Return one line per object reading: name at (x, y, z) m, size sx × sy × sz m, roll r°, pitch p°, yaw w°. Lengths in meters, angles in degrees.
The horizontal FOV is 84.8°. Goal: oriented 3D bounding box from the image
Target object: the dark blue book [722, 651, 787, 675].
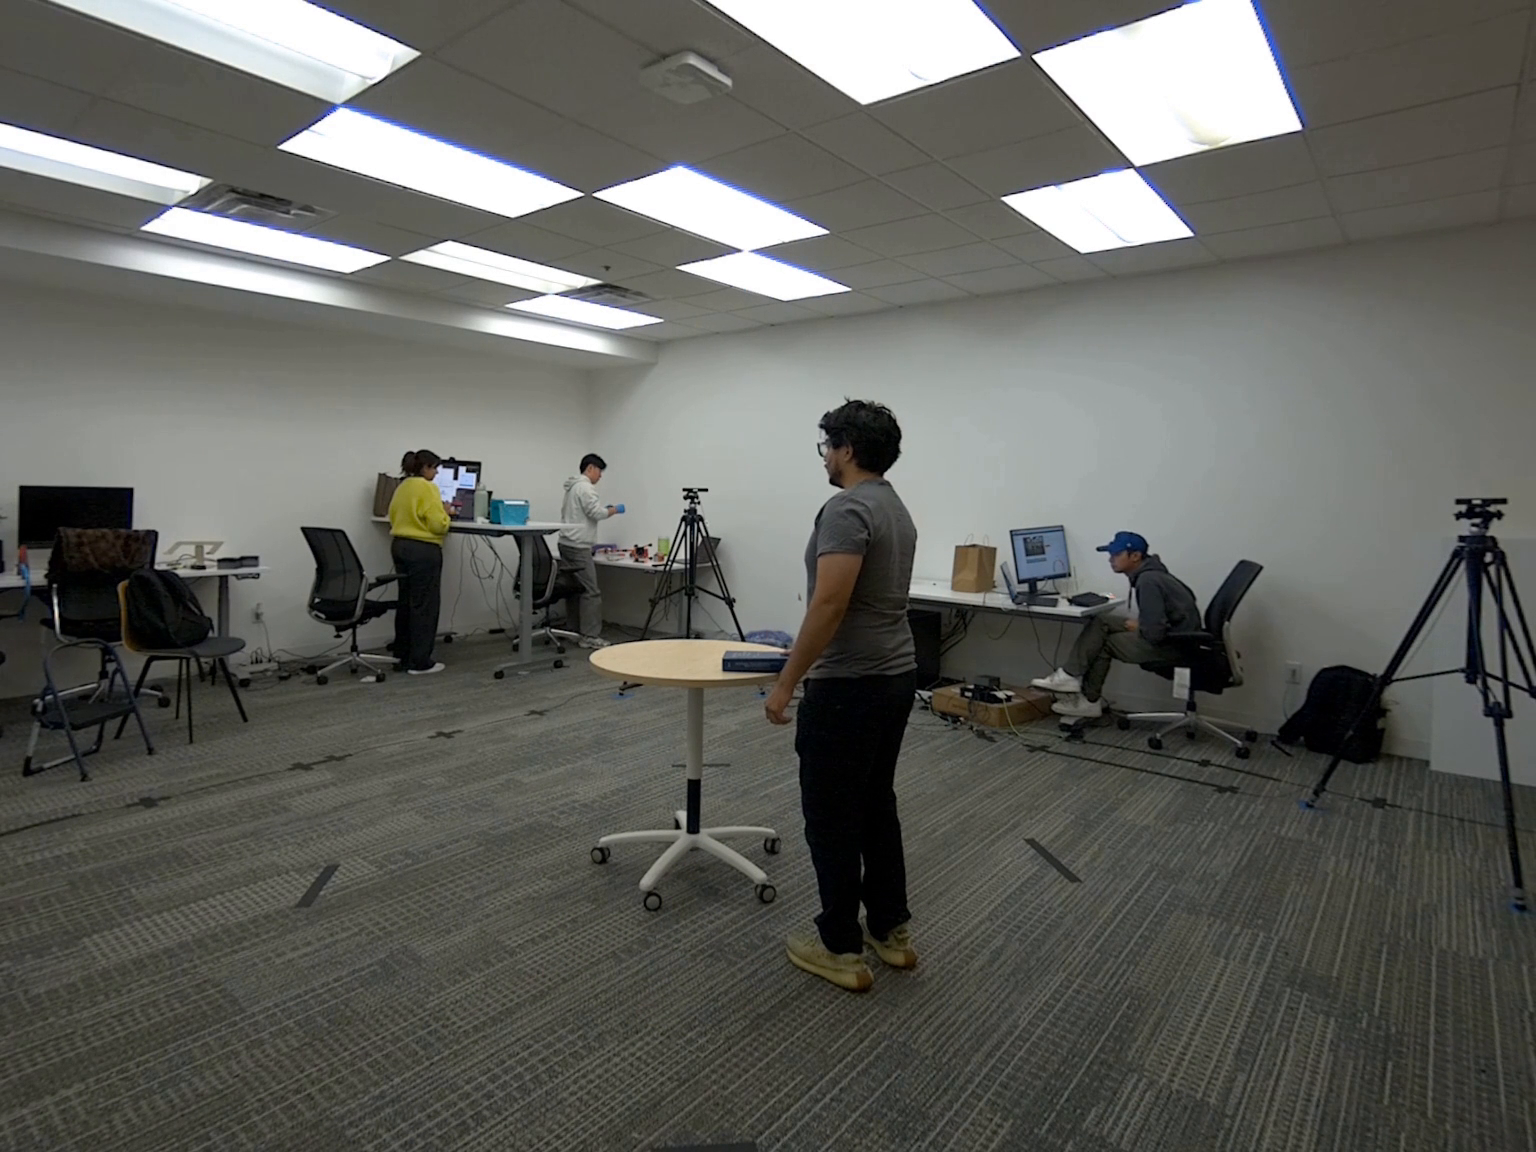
dark blue book at (-0.047, 0.289, 2.887) m, size 0.246 × 0.045 × 0.163 m, roll 0°, pitch 3°, yaw 4°
